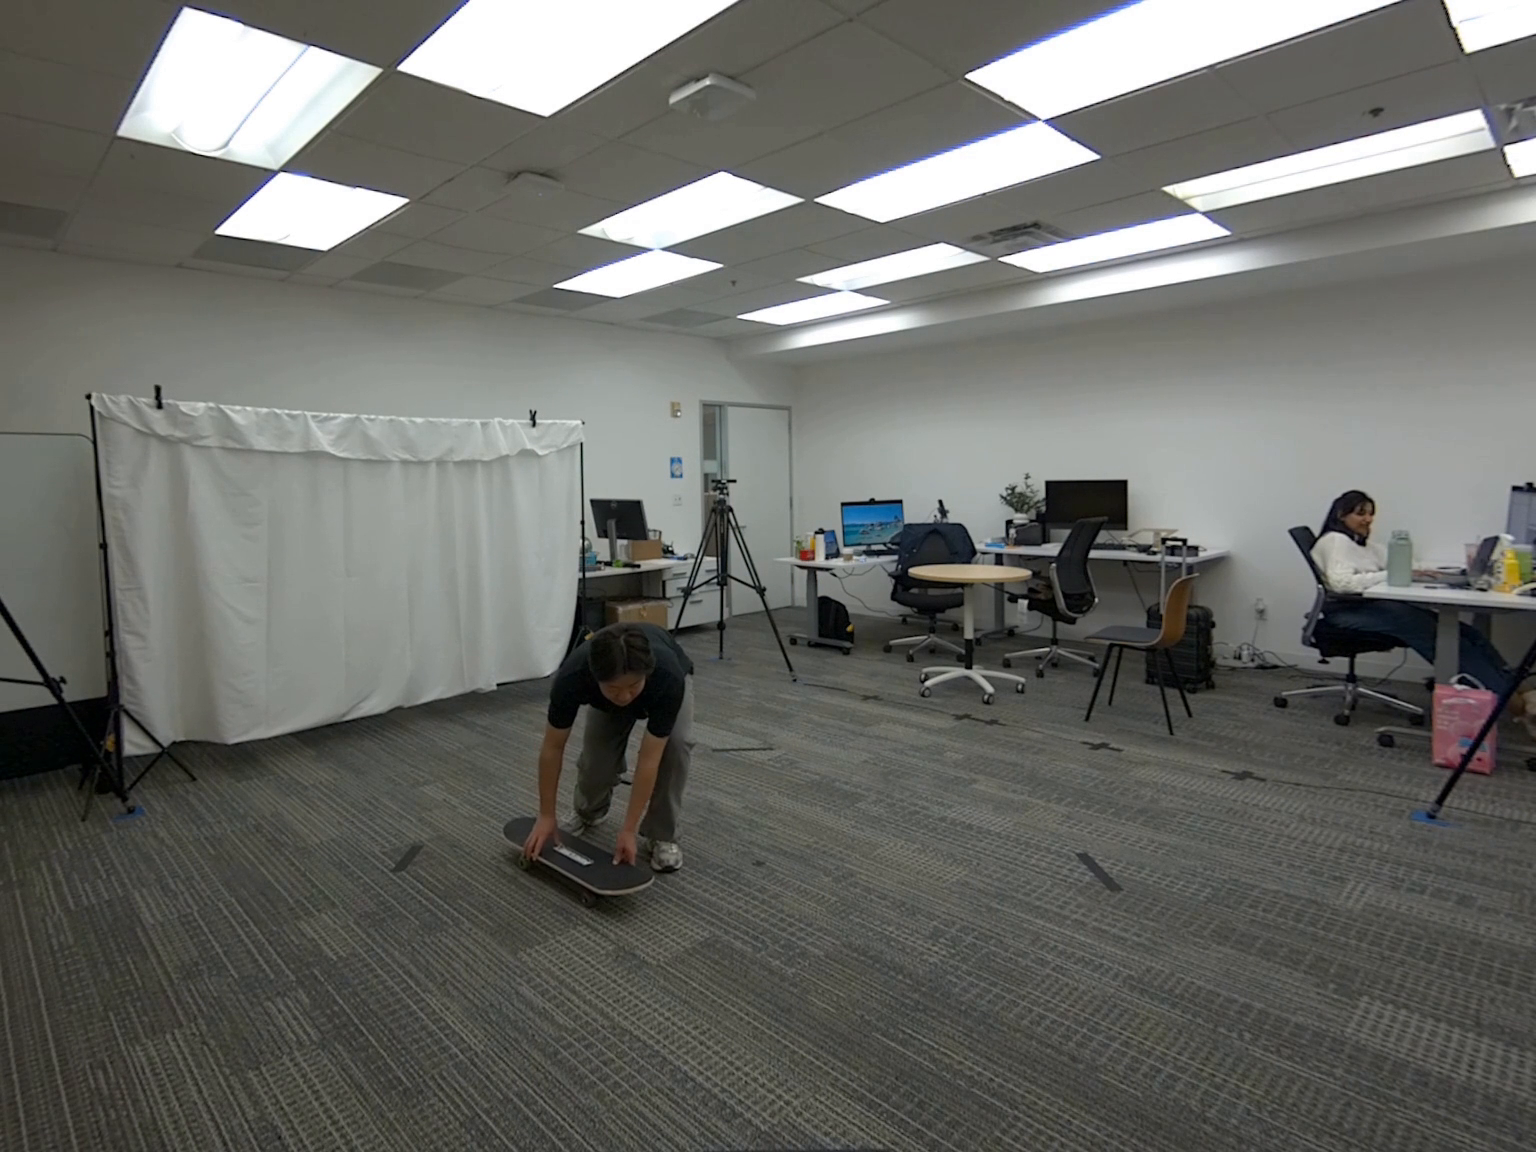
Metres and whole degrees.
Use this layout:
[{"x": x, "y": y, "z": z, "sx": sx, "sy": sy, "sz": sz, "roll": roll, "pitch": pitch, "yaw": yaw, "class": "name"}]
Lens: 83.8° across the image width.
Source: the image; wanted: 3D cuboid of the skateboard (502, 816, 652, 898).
[{"x": -0.683, "y": 1.015, "z": 3.011, "sx": 0.188, "sy": 0.110, "sz": 0.810, "roll": -8, "pitch": 10, "yaw": -44, "class": "skateboard"}]
